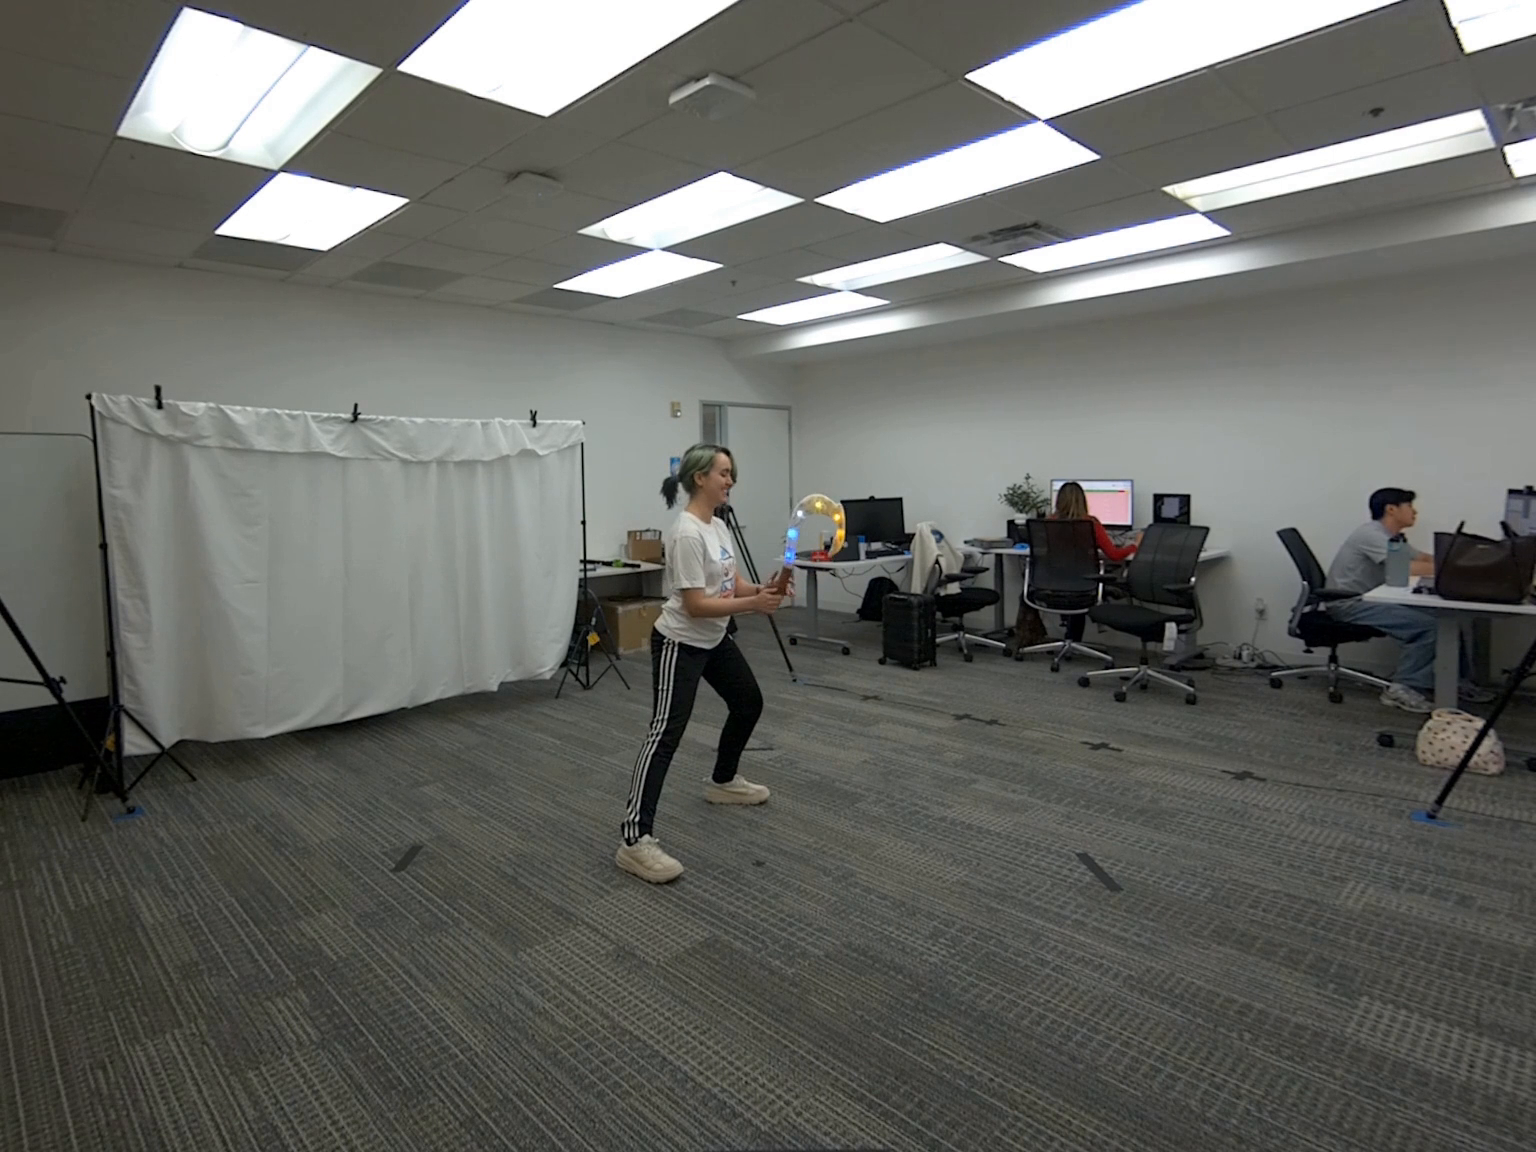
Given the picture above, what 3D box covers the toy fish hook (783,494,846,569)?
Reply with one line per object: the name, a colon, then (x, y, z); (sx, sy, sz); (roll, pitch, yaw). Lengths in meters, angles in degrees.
toy fish hook: (0.133, -0.068, 3.250); (0.231, 0.503, 0.047); (32, 19, 22)
